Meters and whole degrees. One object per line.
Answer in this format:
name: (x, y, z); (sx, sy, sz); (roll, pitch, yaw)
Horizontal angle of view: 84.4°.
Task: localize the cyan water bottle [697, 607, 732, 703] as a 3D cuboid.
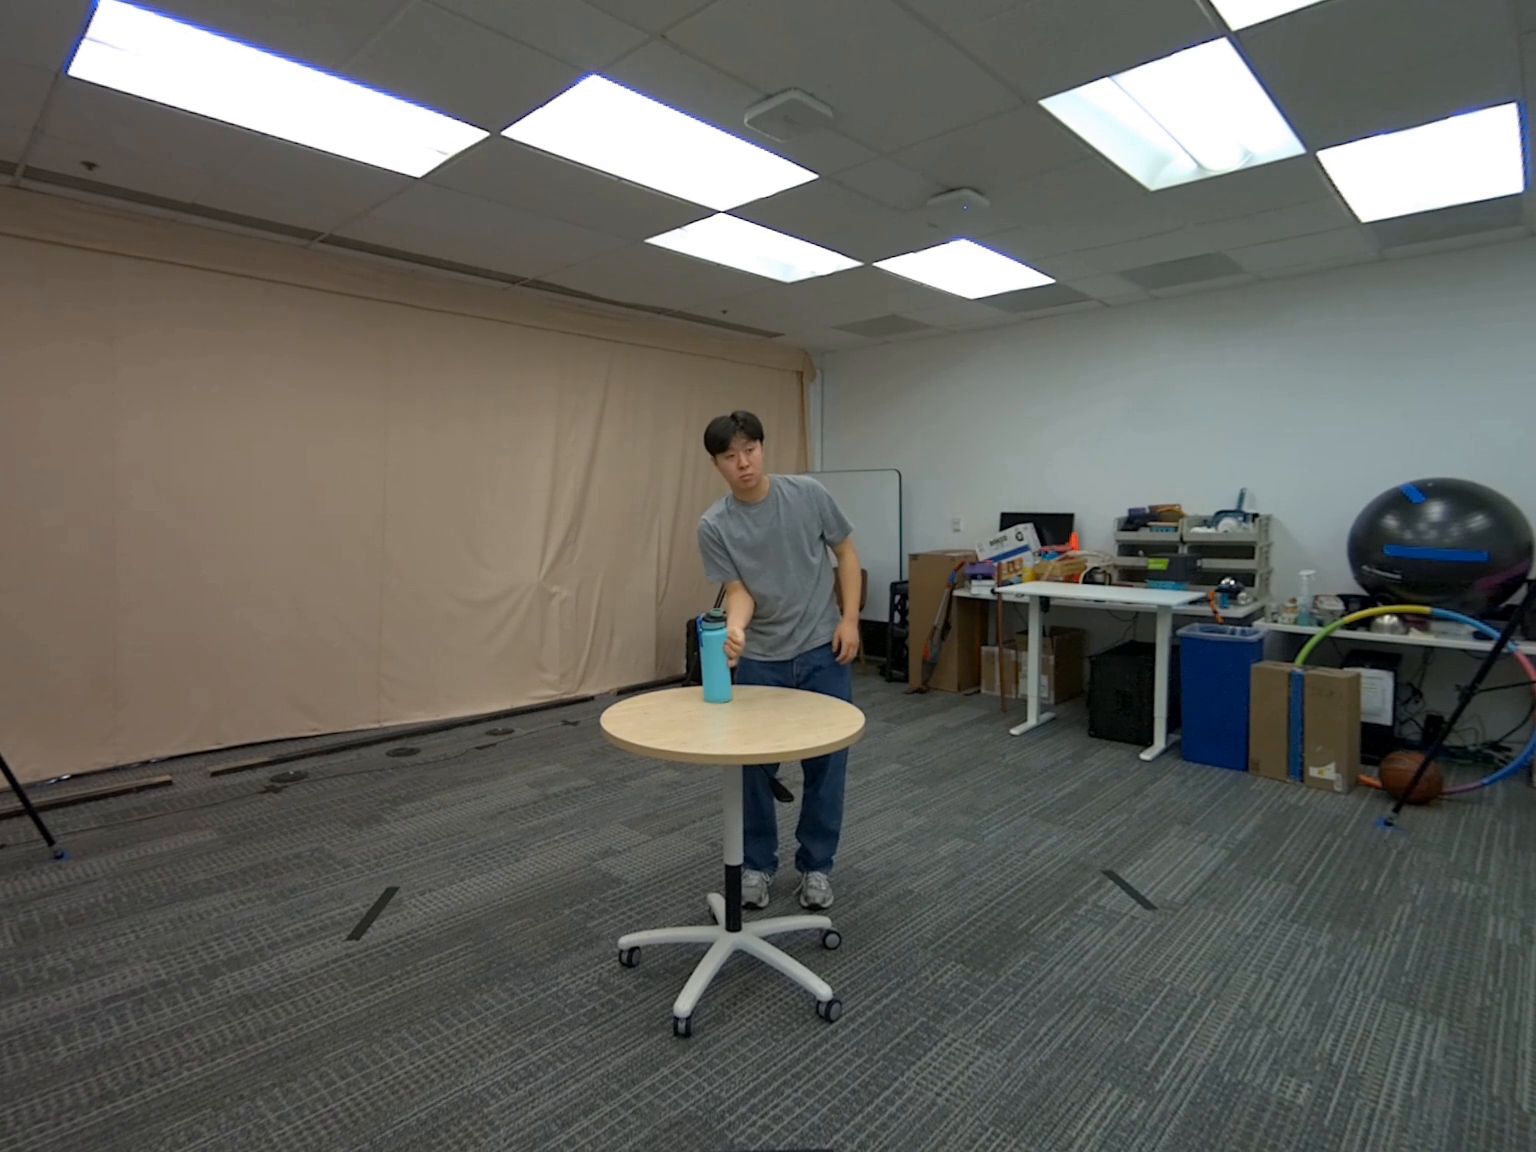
cyan water bottle: (-0.165, 0.247, 2.612); (0.092, 0.282, 0.093); (-4, 5, -1)
